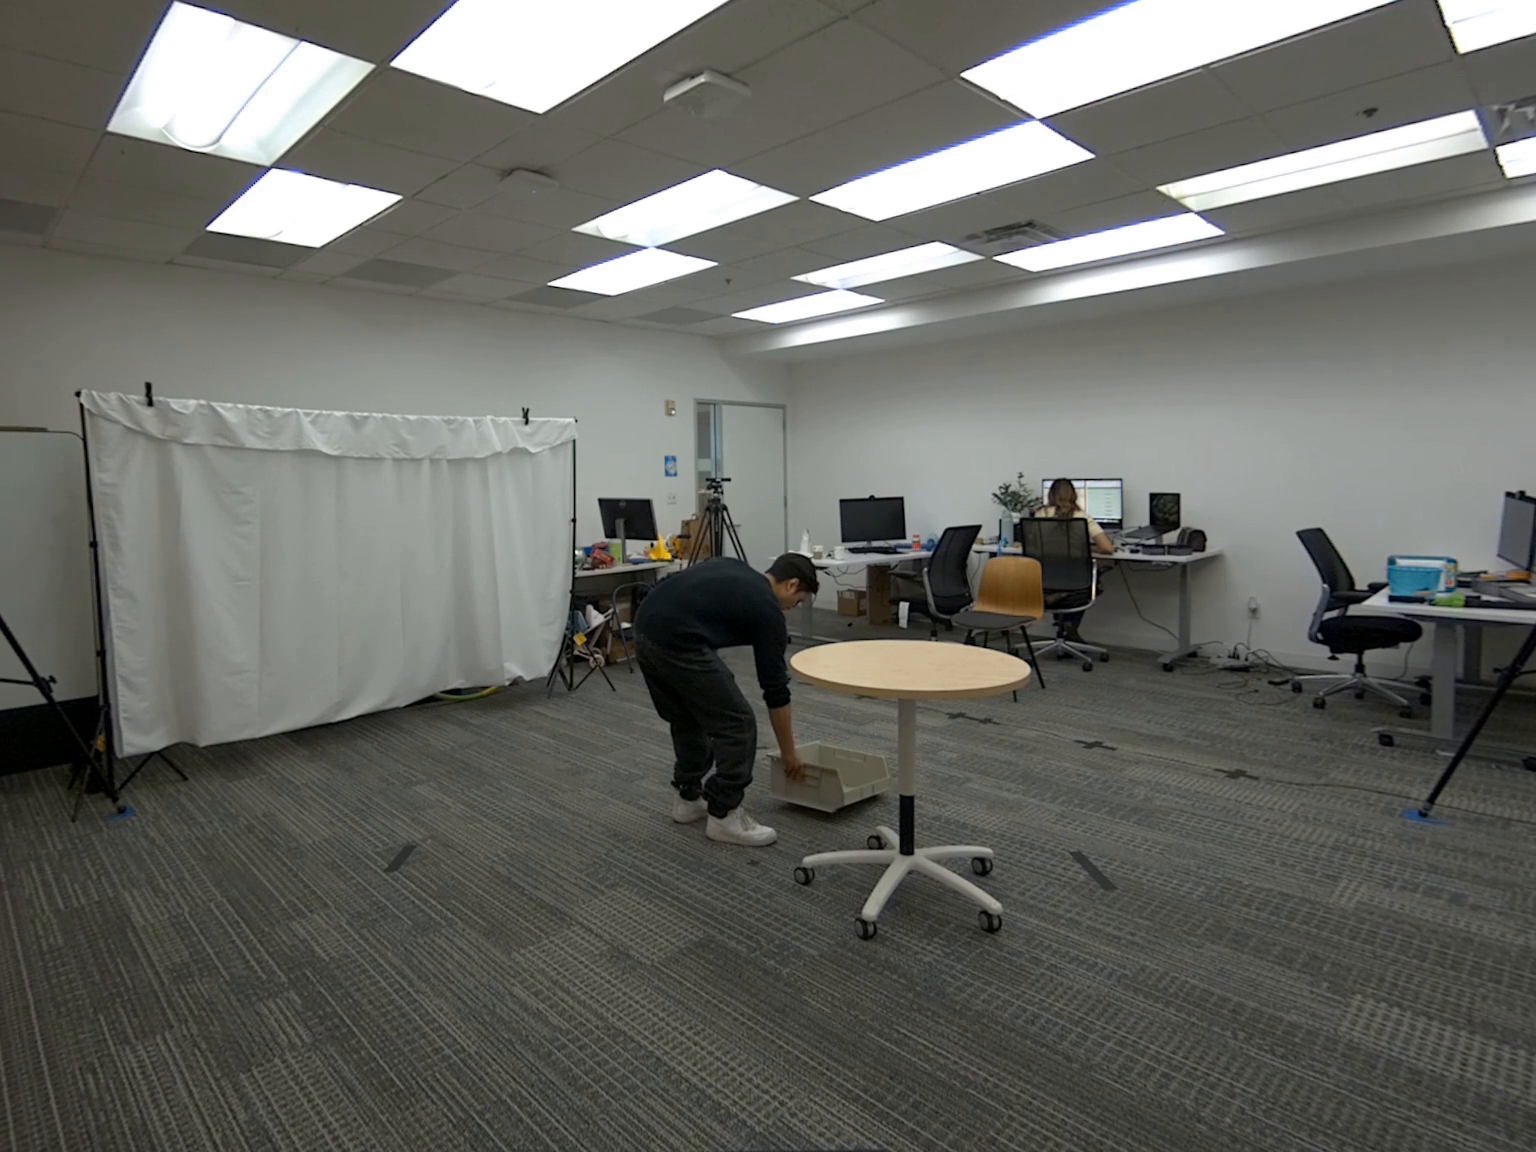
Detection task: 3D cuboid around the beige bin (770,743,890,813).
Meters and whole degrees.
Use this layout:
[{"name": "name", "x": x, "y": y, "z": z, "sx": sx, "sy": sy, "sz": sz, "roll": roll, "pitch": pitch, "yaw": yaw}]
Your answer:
[{"name": "beige bin", "x": 0.269, "y": 0.860, "z": 3.677, "sx": 0.388, "sy": 0.189, "sz": 0.410, "roll": 2, "pitch": 1, "yaw": 35}]
